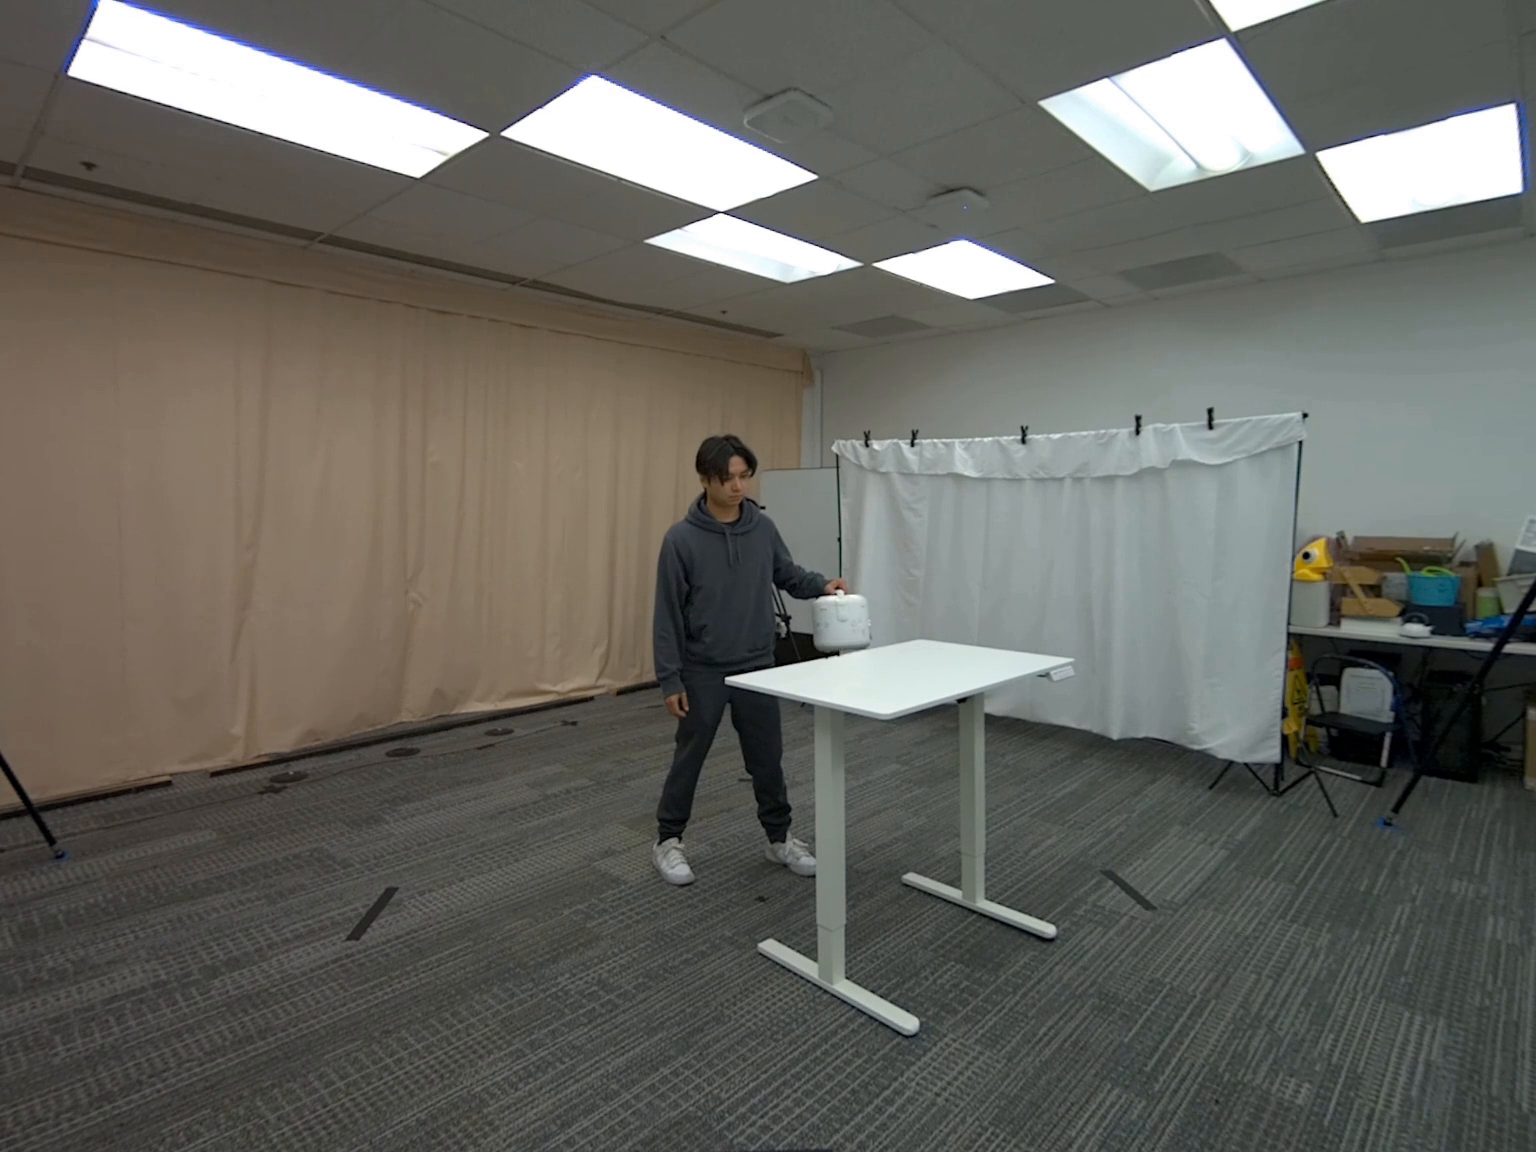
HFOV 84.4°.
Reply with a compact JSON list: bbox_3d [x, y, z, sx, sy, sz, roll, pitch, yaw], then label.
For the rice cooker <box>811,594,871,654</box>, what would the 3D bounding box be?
[{"bbox_3d":[0.280,0.169,3.196,0.218,0.234,0.219,-4,-5,3],"label":"rice cooker"}]
